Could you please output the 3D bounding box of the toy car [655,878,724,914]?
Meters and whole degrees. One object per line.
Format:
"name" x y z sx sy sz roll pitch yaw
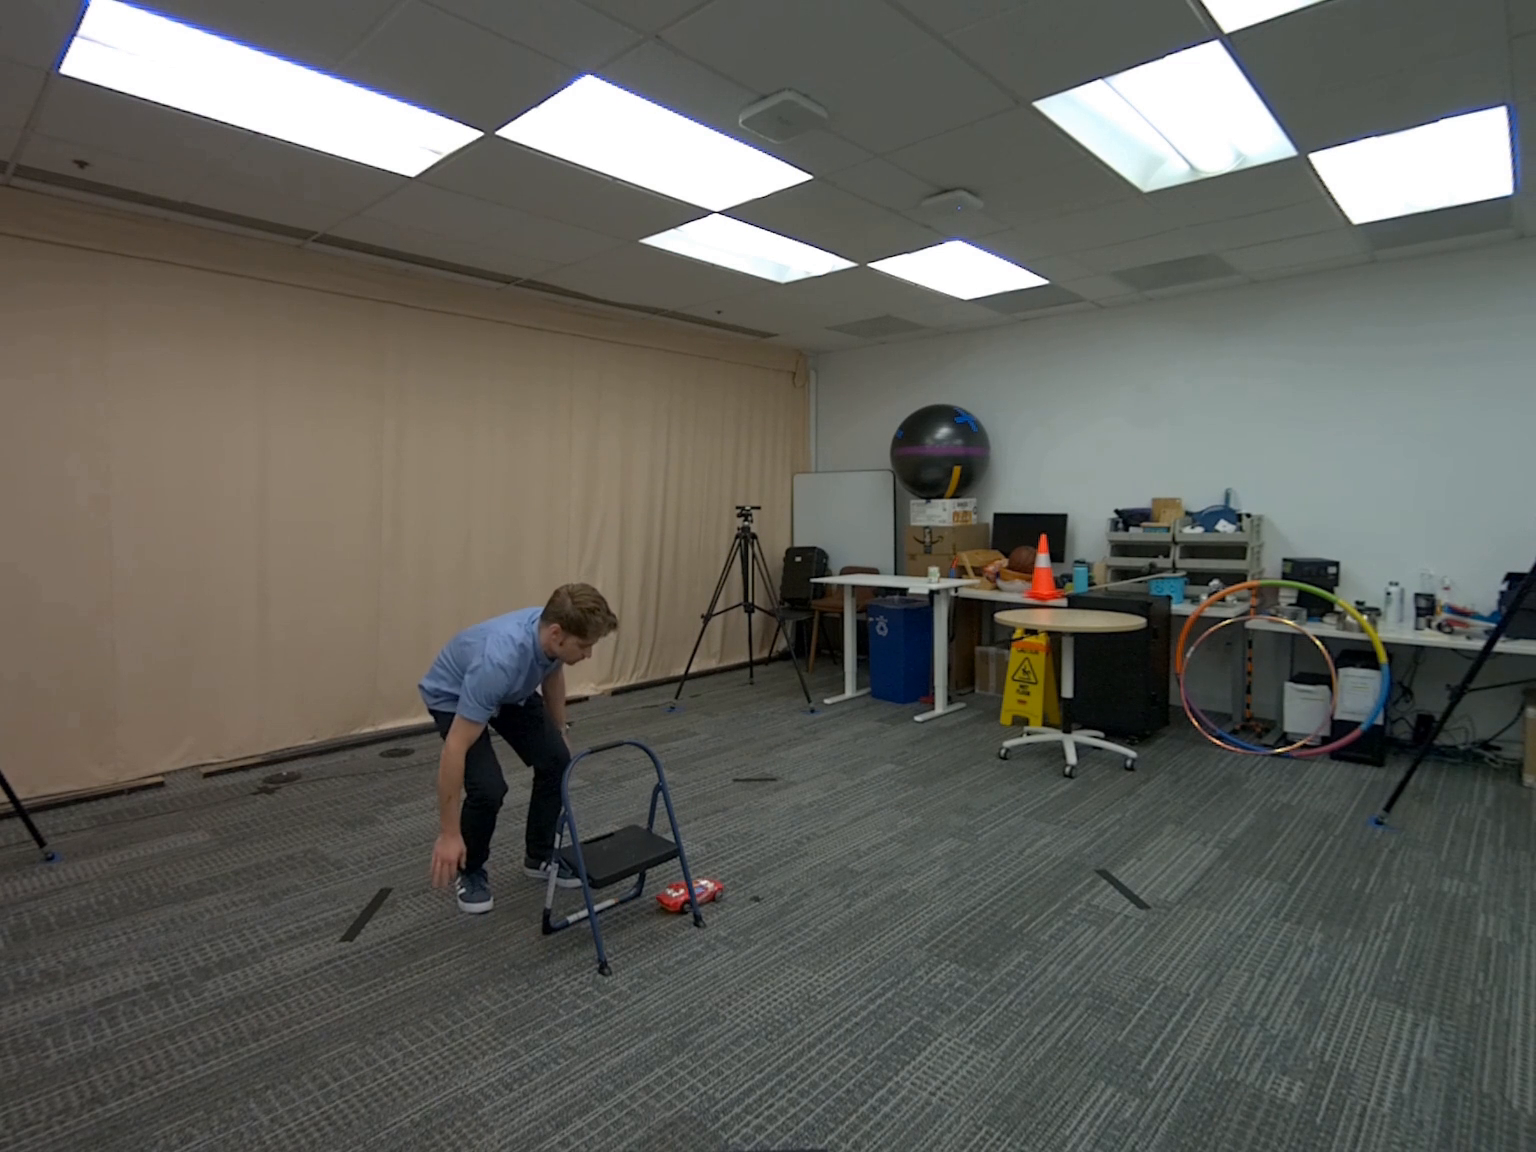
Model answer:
"toy car" -0.288 1.122 2.934 0.246 0.083 0.134 10 -3 -39
